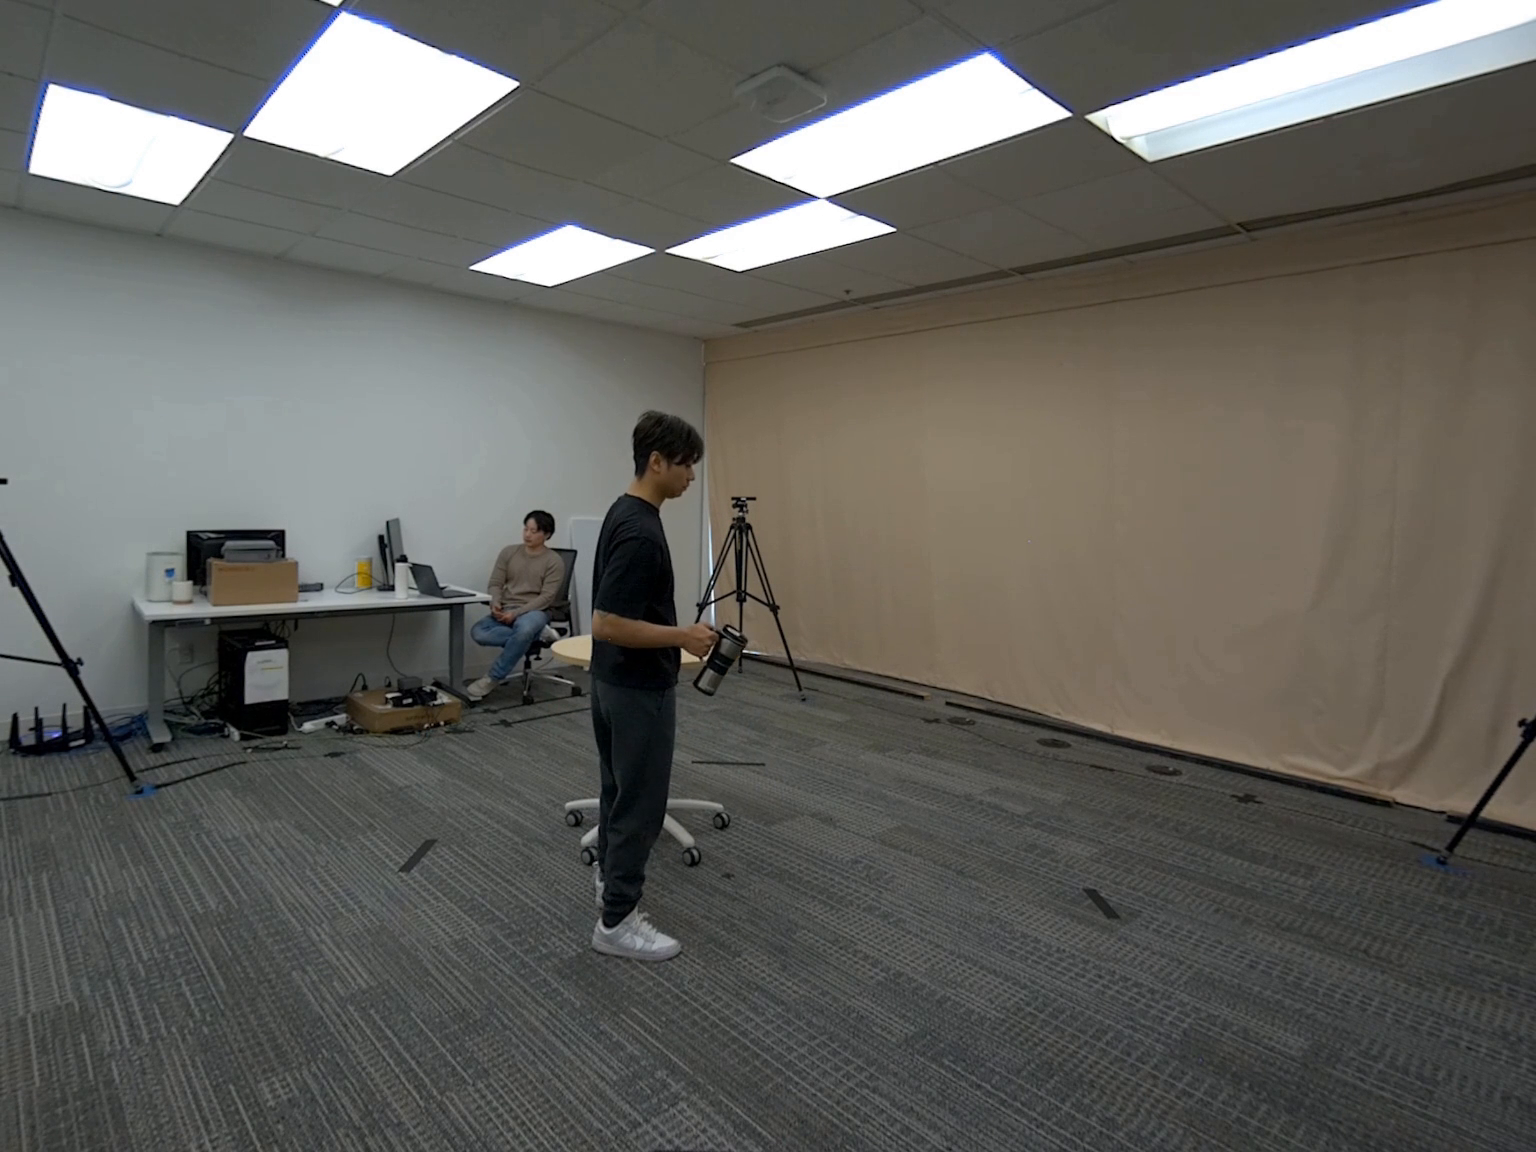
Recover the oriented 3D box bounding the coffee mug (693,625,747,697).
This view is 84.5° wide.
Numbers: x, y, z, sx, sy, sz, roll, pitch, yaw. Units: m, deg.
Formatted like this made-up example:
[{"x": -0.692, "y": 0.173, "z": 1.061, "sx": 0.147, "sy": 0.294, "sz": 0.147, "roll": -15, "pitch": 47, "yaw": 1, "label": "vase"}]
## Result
[{"x": -0.171, "y": 0.247, "z": 2.493, "sx": 0.125, "sy": 0.202, "sz": 0.086, "roll": 35, "pitch": 13, "yaw": 29, "label": "coffee mug"}]
